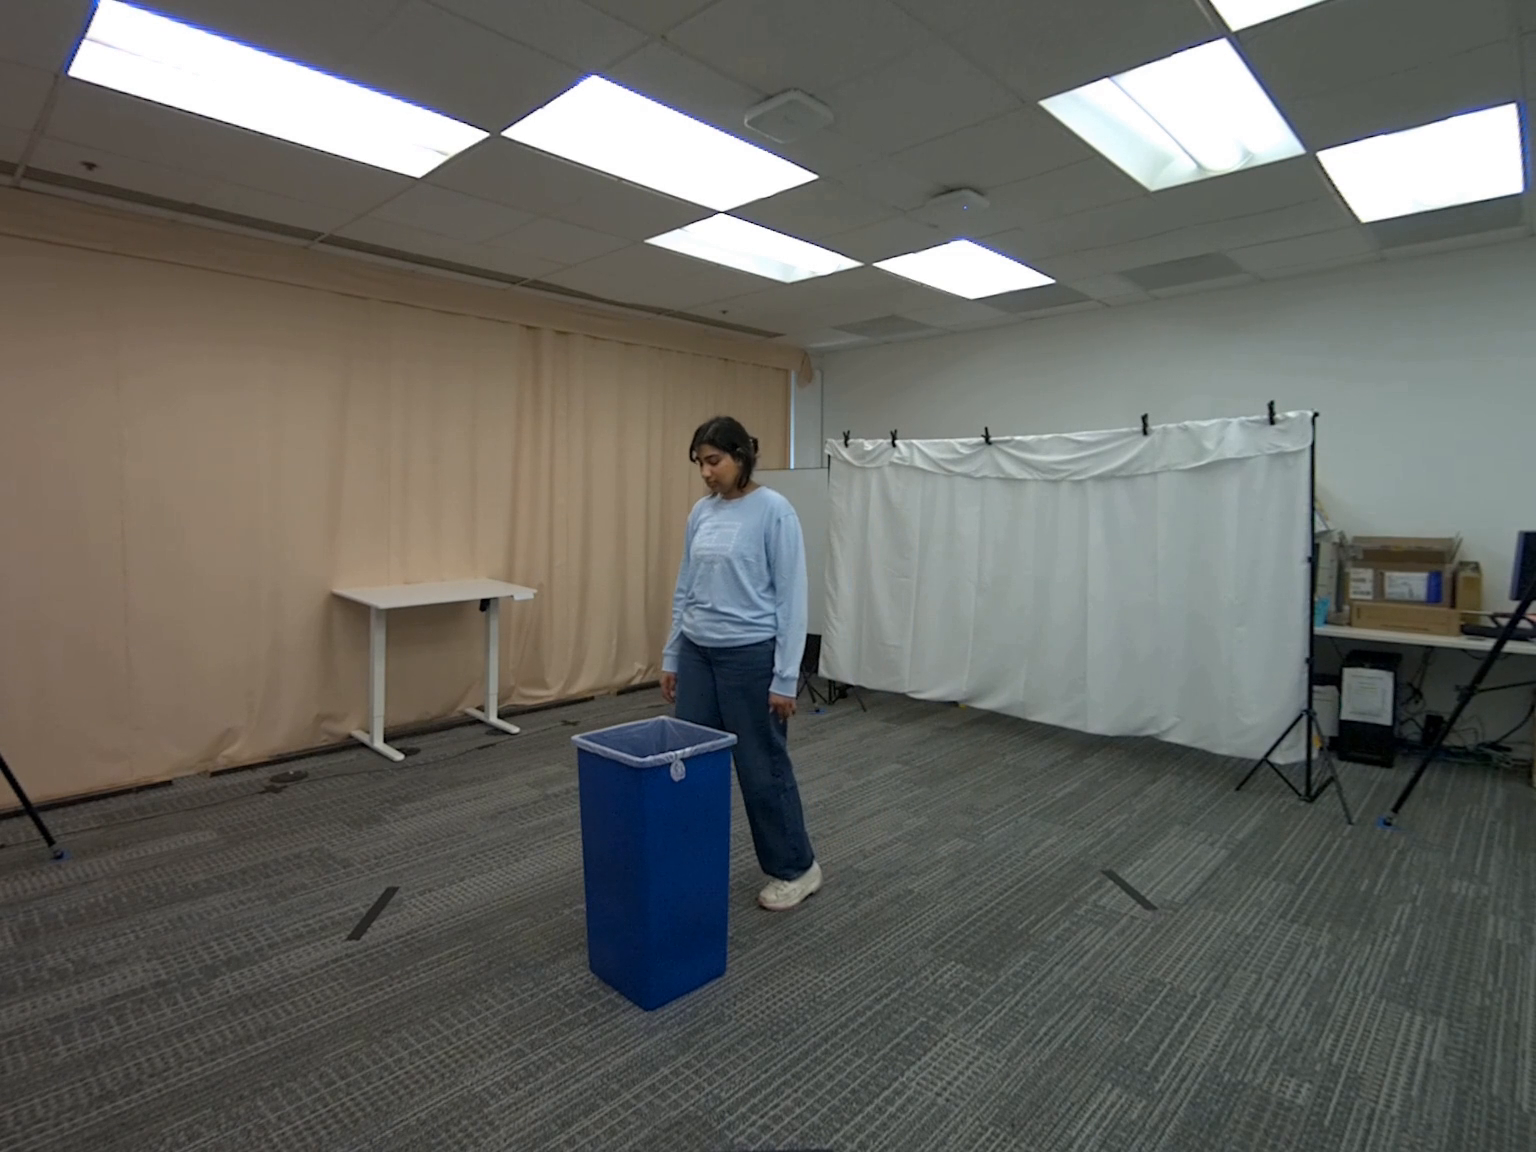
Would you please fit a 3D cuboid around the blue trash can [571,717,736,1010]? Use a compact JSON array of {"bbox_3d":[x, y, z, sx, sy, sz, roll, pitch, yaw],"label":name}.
[{"bbox_3d":[-0.341,0.829,2.507,0.366,0.712,0.386,-3,4,-44],"label":"blue trash can"}]
